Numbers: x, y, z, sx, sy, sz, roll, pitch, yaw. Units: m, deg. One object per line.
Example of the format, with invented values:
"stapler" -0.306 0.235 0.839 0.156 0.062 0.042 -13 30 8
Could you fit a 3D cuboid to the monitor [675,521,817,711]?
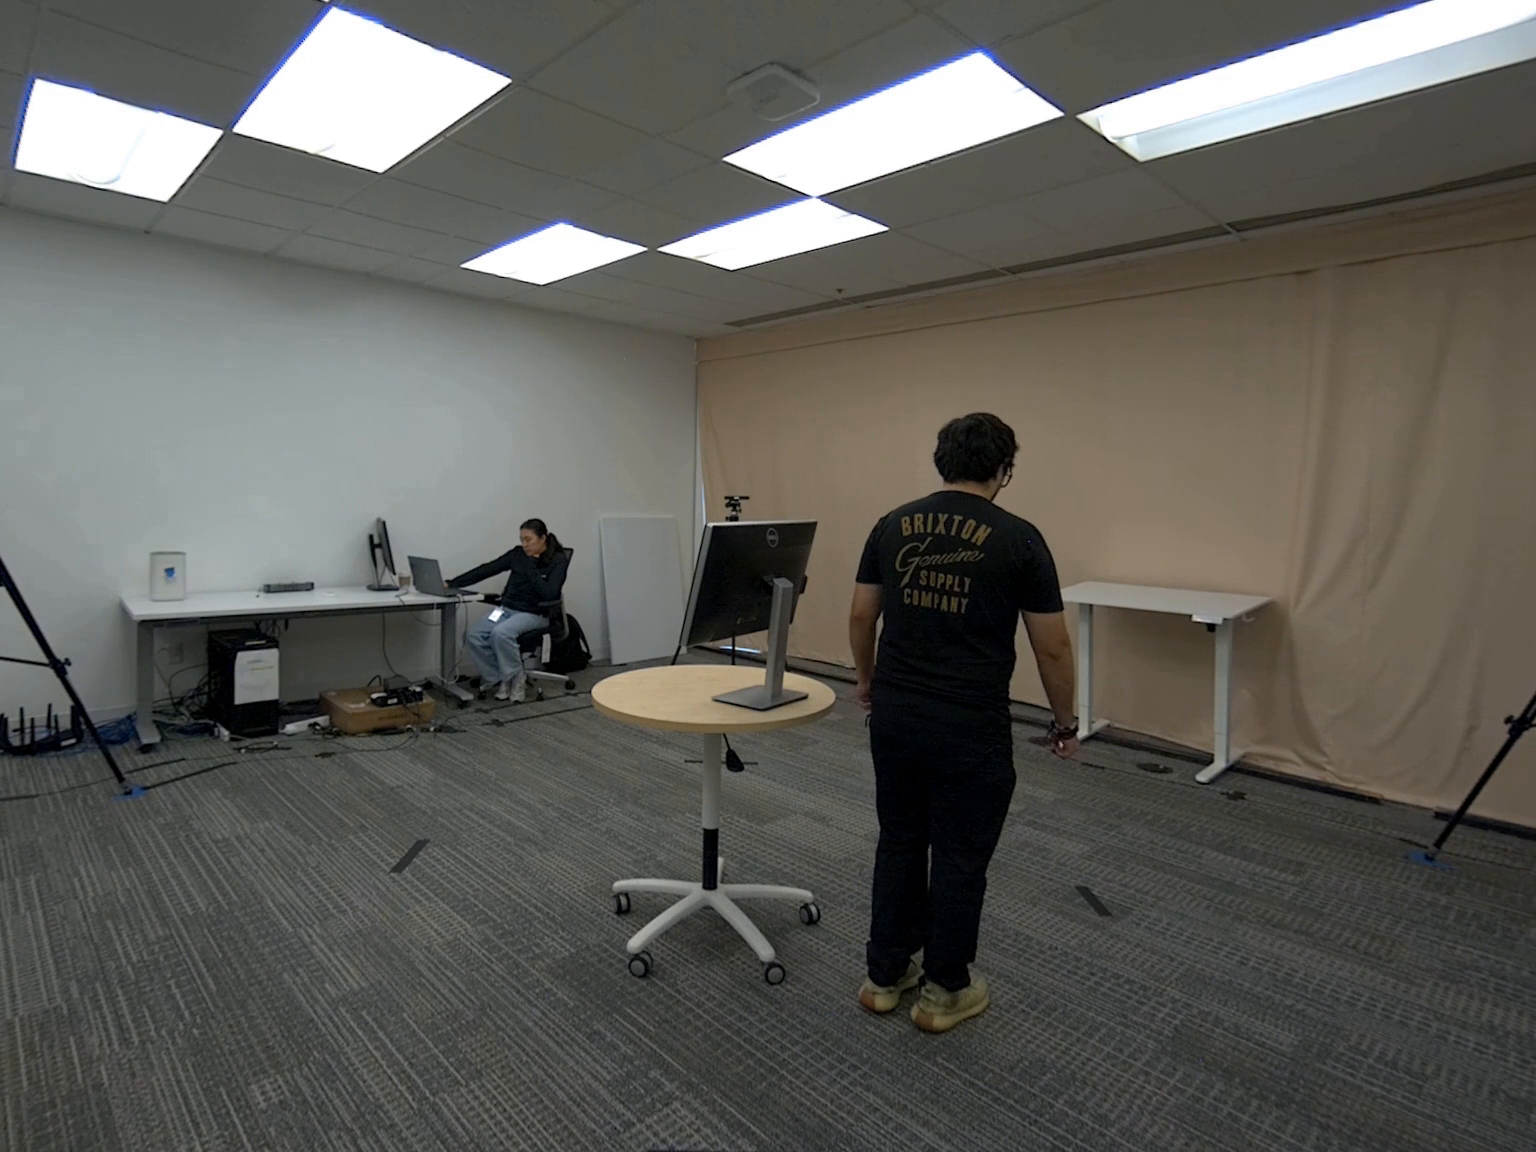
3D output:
"monitor" -0.002 0.113 2.528 0.216 0.551 0.553 12 10 35
